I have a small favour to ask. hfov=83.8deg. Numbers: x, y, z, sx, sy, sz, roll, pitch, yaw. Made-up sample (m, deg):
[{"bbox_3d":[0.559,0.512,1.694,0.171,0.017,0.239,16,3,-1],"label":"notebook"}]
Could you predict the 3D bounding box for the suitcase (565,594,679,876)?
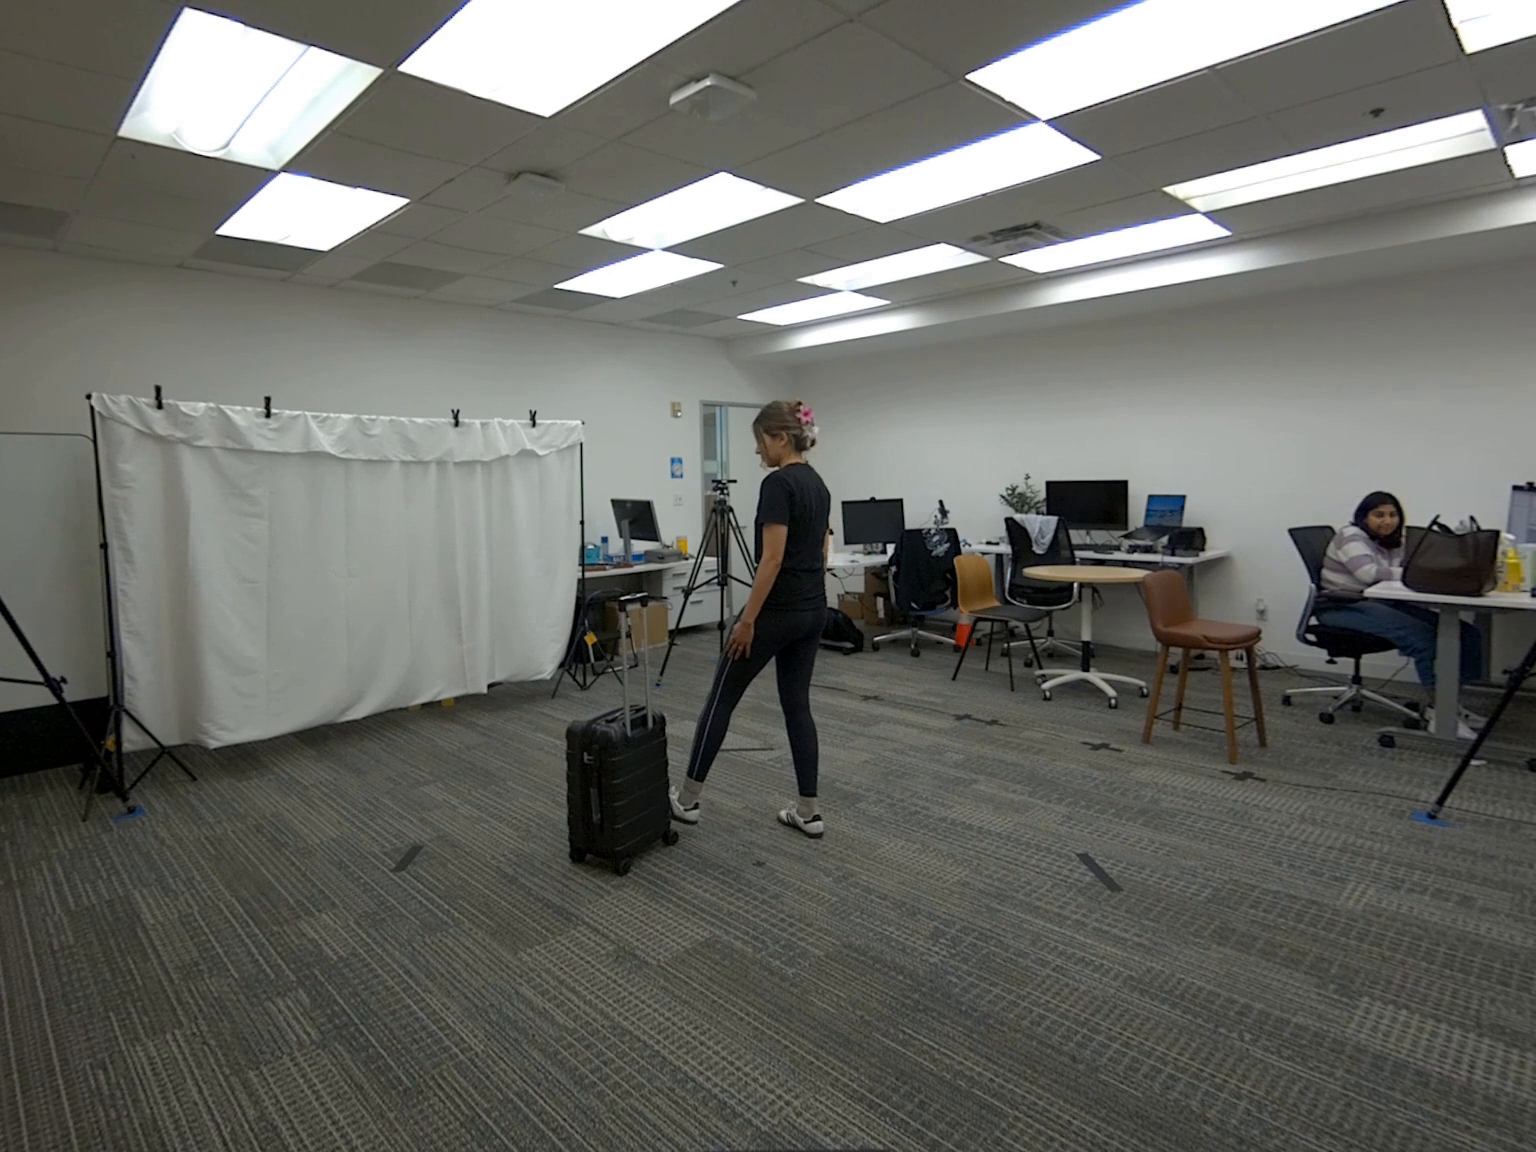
[{"bbox_3d":[-0.573,0.572,3.181,0.263,0.975,0.376,-1,5,29],"label":"suitcase"}]
